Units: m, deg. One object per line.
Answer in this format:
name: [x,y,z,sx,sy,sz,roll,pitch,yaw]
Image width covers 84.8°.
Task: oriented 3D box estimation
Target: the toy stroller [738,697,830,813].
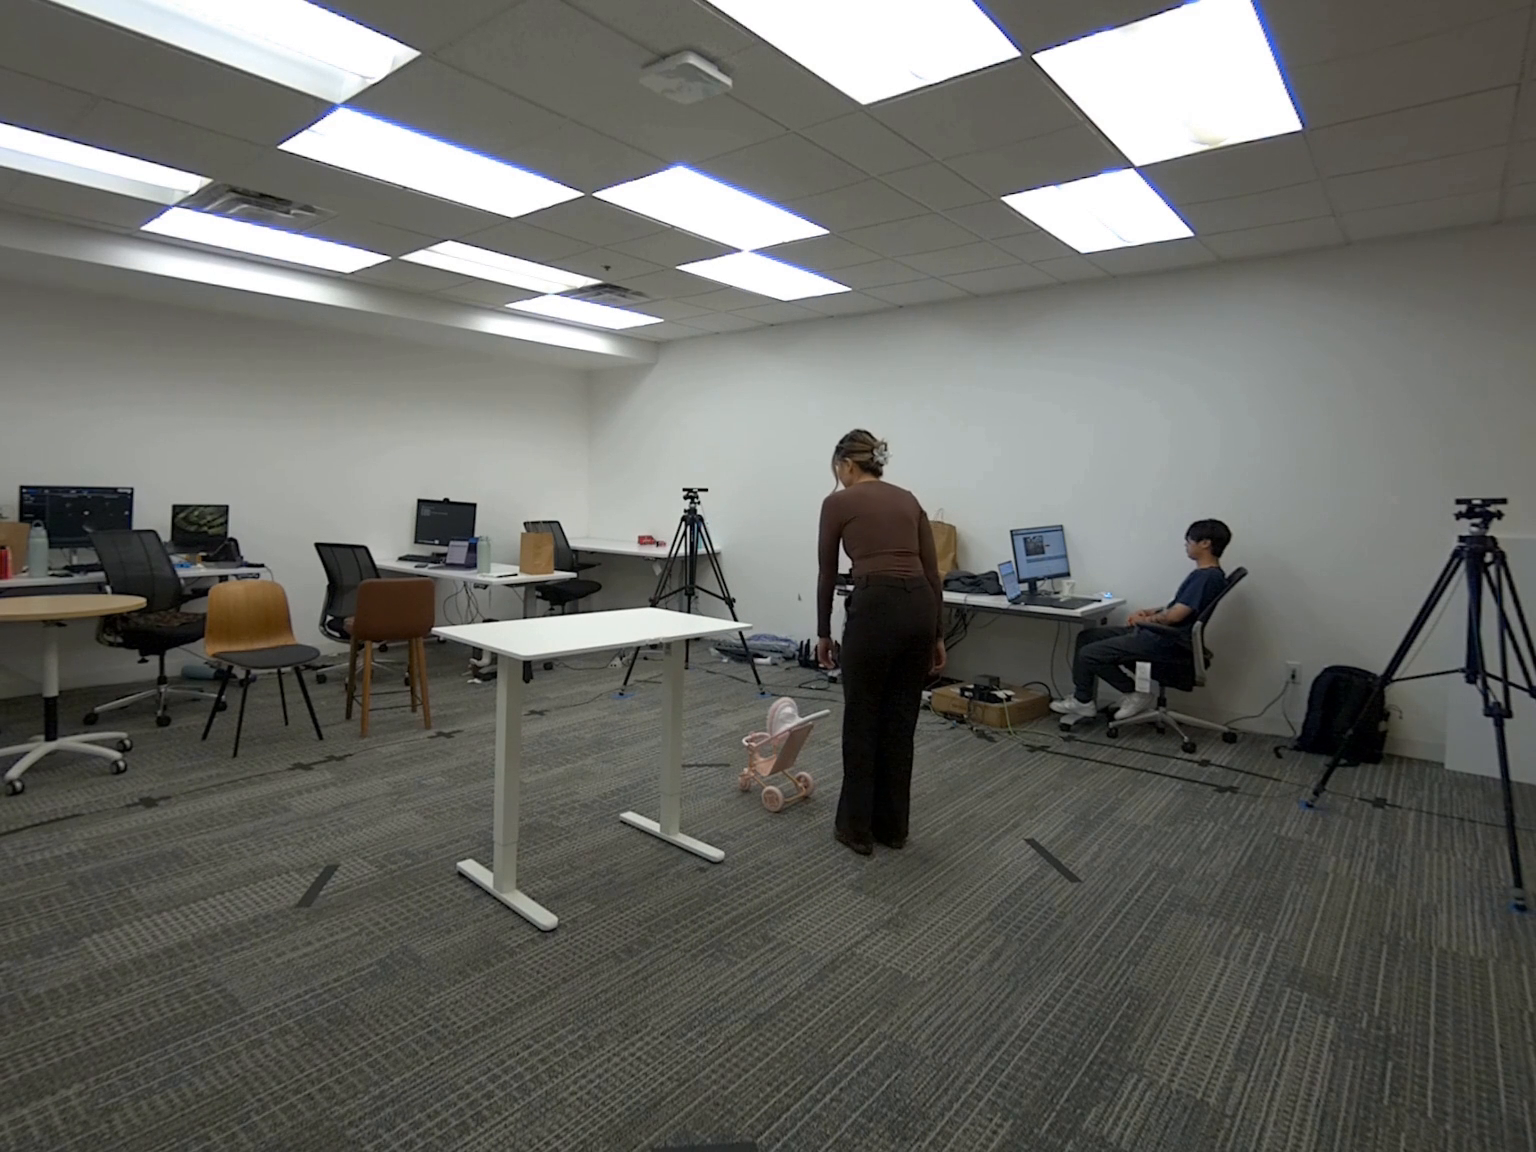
toy stroller: [0.037,0.780,3.818,0.355,0.530,0.273,24,18,39]
